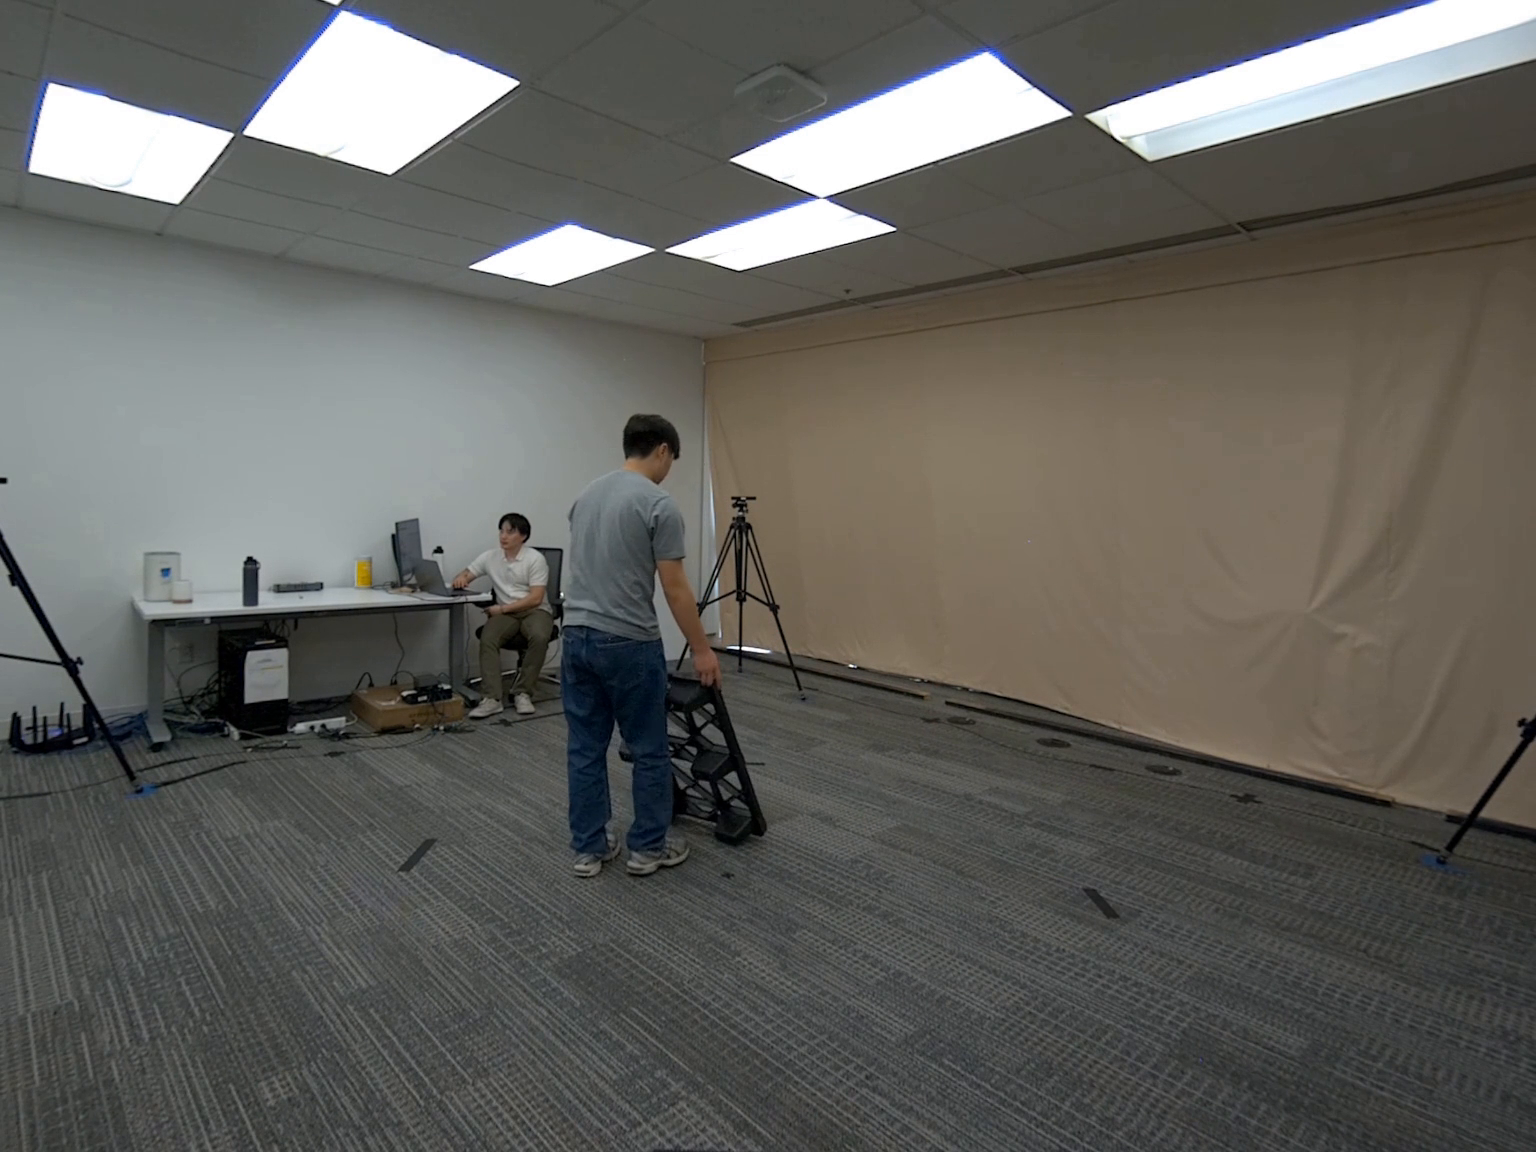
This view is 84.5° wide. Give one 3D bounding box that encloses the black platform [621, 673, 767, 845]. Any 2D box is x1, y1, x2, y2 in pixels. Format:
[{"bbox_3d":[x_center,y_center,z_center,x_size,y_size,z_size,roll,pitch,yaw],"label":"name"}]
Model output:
[{"bbox_3d":[-0.371,0.721,3.377,0.619,0.788,0.143,4,32,34],"label":"black platform"}]
